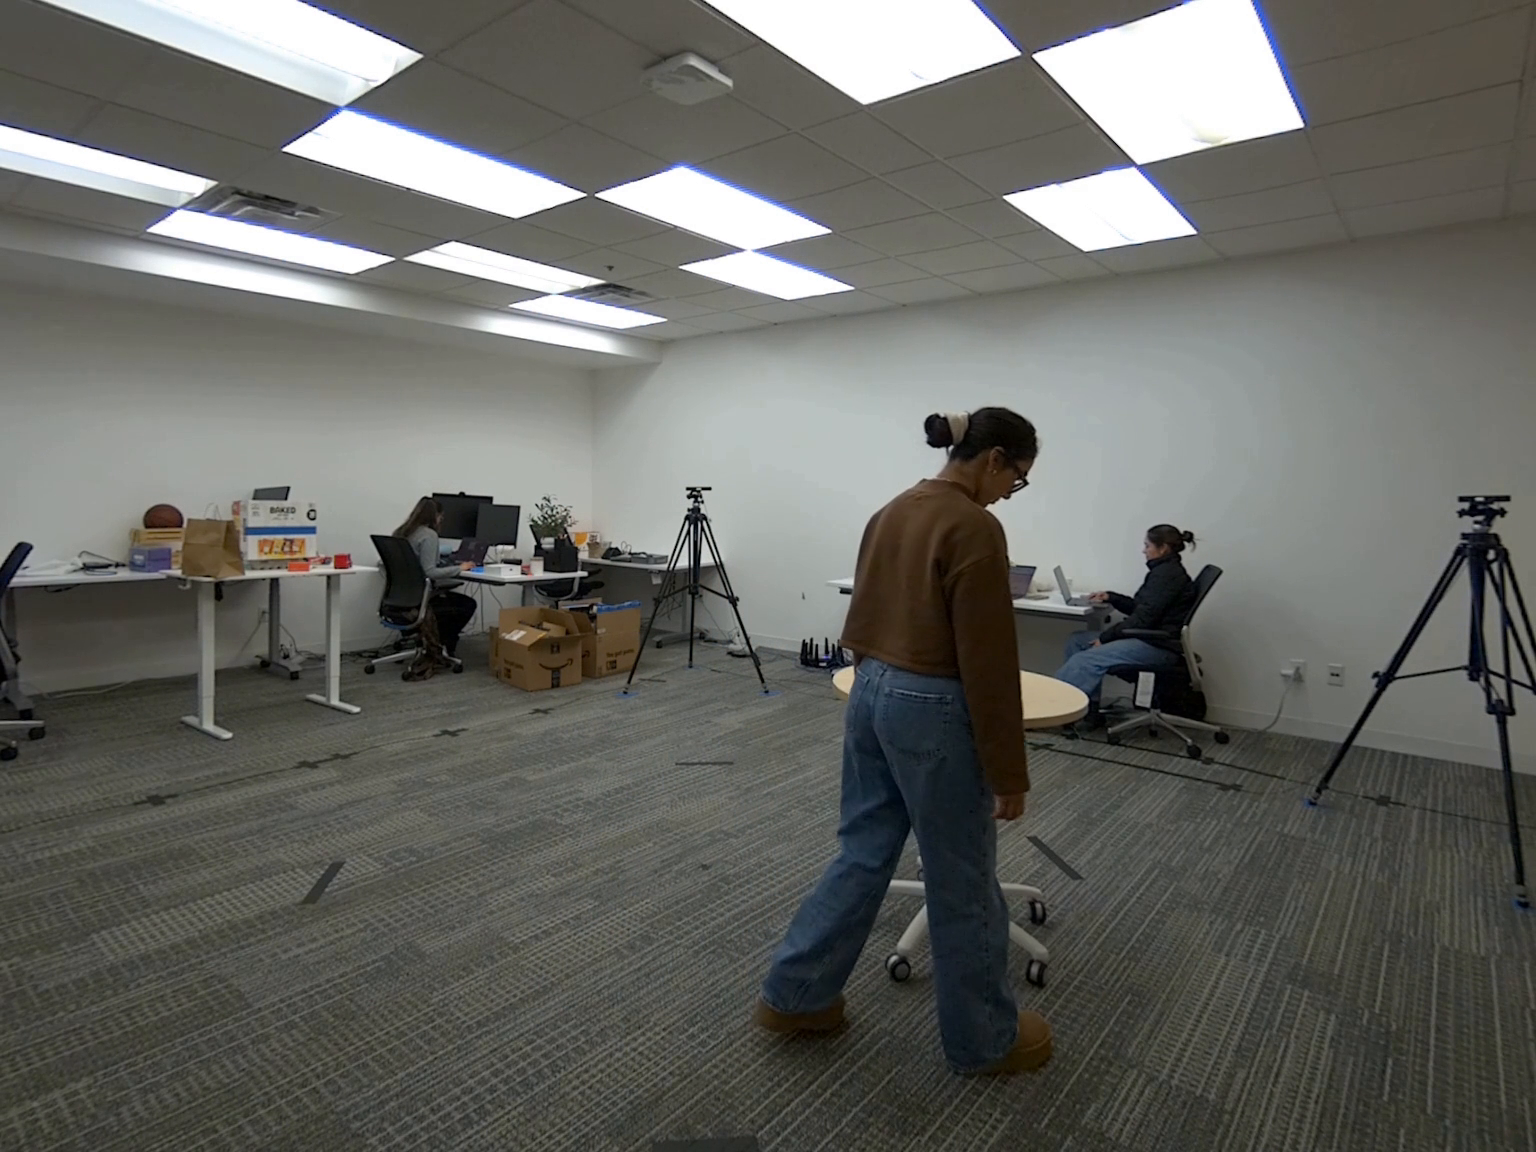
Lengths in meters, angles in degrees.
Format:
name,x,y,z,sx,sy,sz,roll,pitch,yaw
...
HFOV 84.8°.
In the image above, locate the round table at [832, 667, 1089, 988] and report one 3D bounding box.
name,x,y,z,sx,sy,sz,roll,pitch,yaw
round table,0.573,0.733,2.679,0.763,0.791,0.768,1,4,-2
